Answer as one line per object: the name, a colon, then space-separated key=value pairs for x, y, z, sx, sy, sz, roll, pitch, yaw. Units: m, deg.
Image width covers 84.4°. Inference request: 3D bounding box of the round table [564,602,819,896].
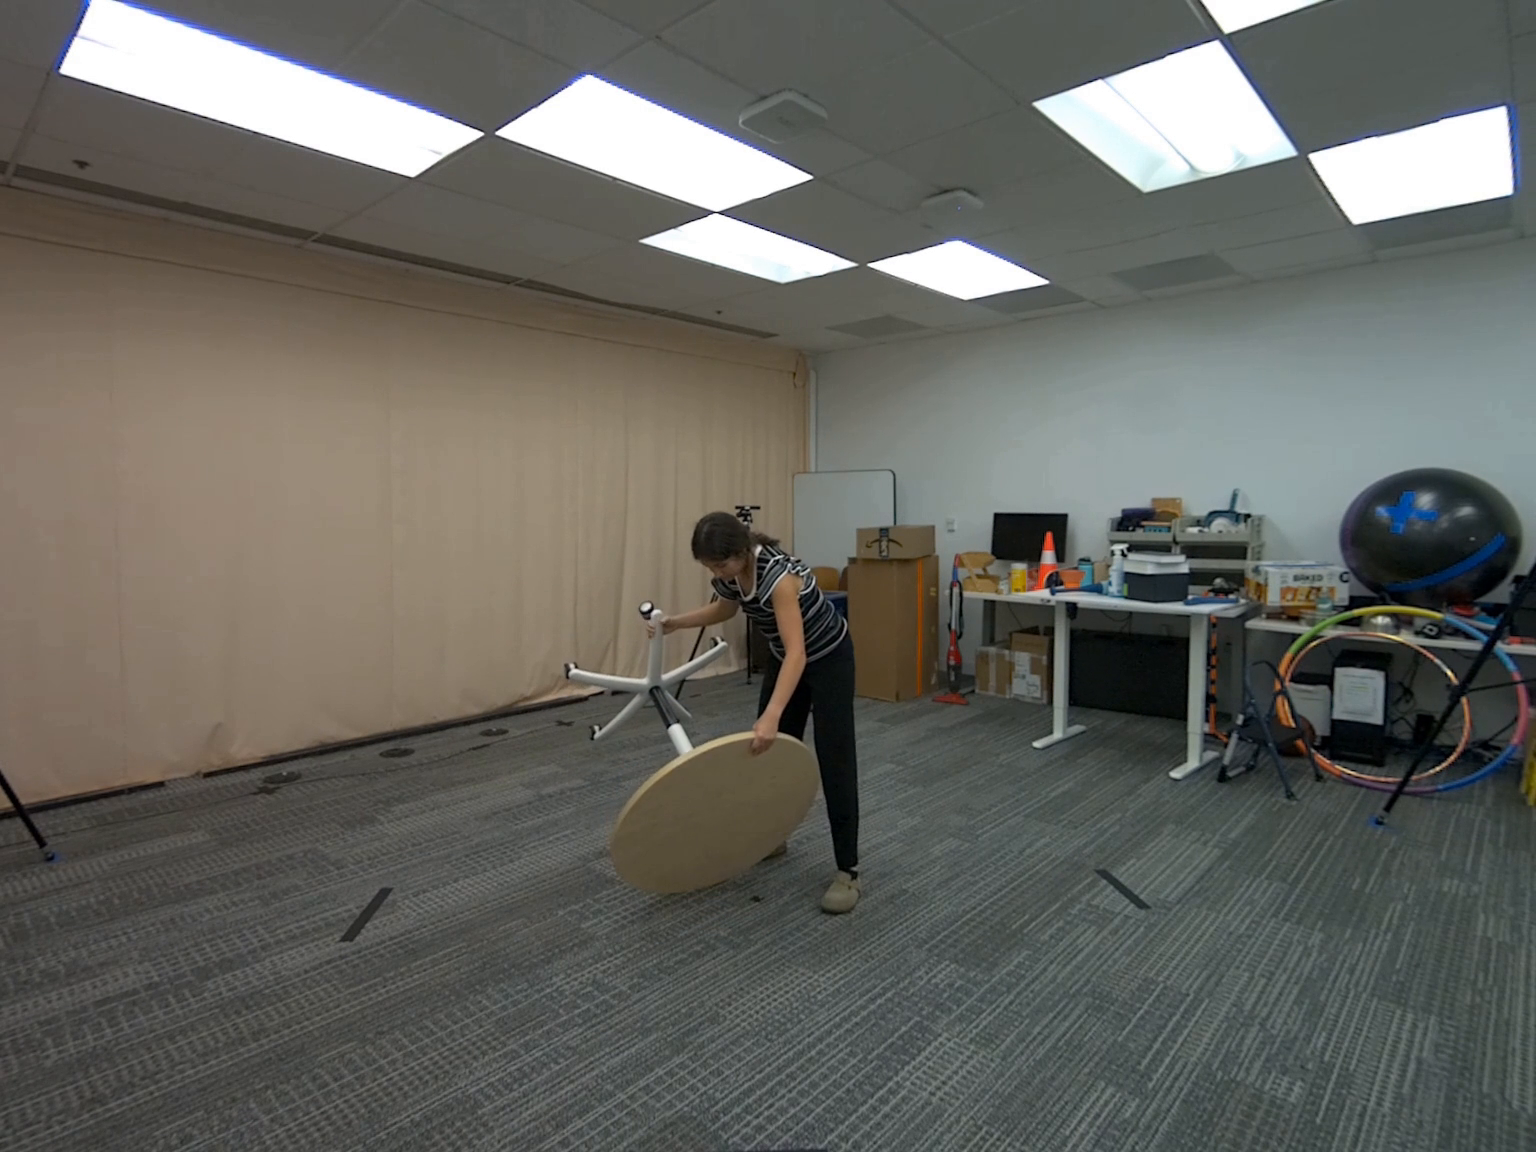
round table: x=-0.345 y=0.604 z=3.160 sx=0.744 sy=0.758 sz=0.821 roll=-2 pitch=35 yaw=-30
